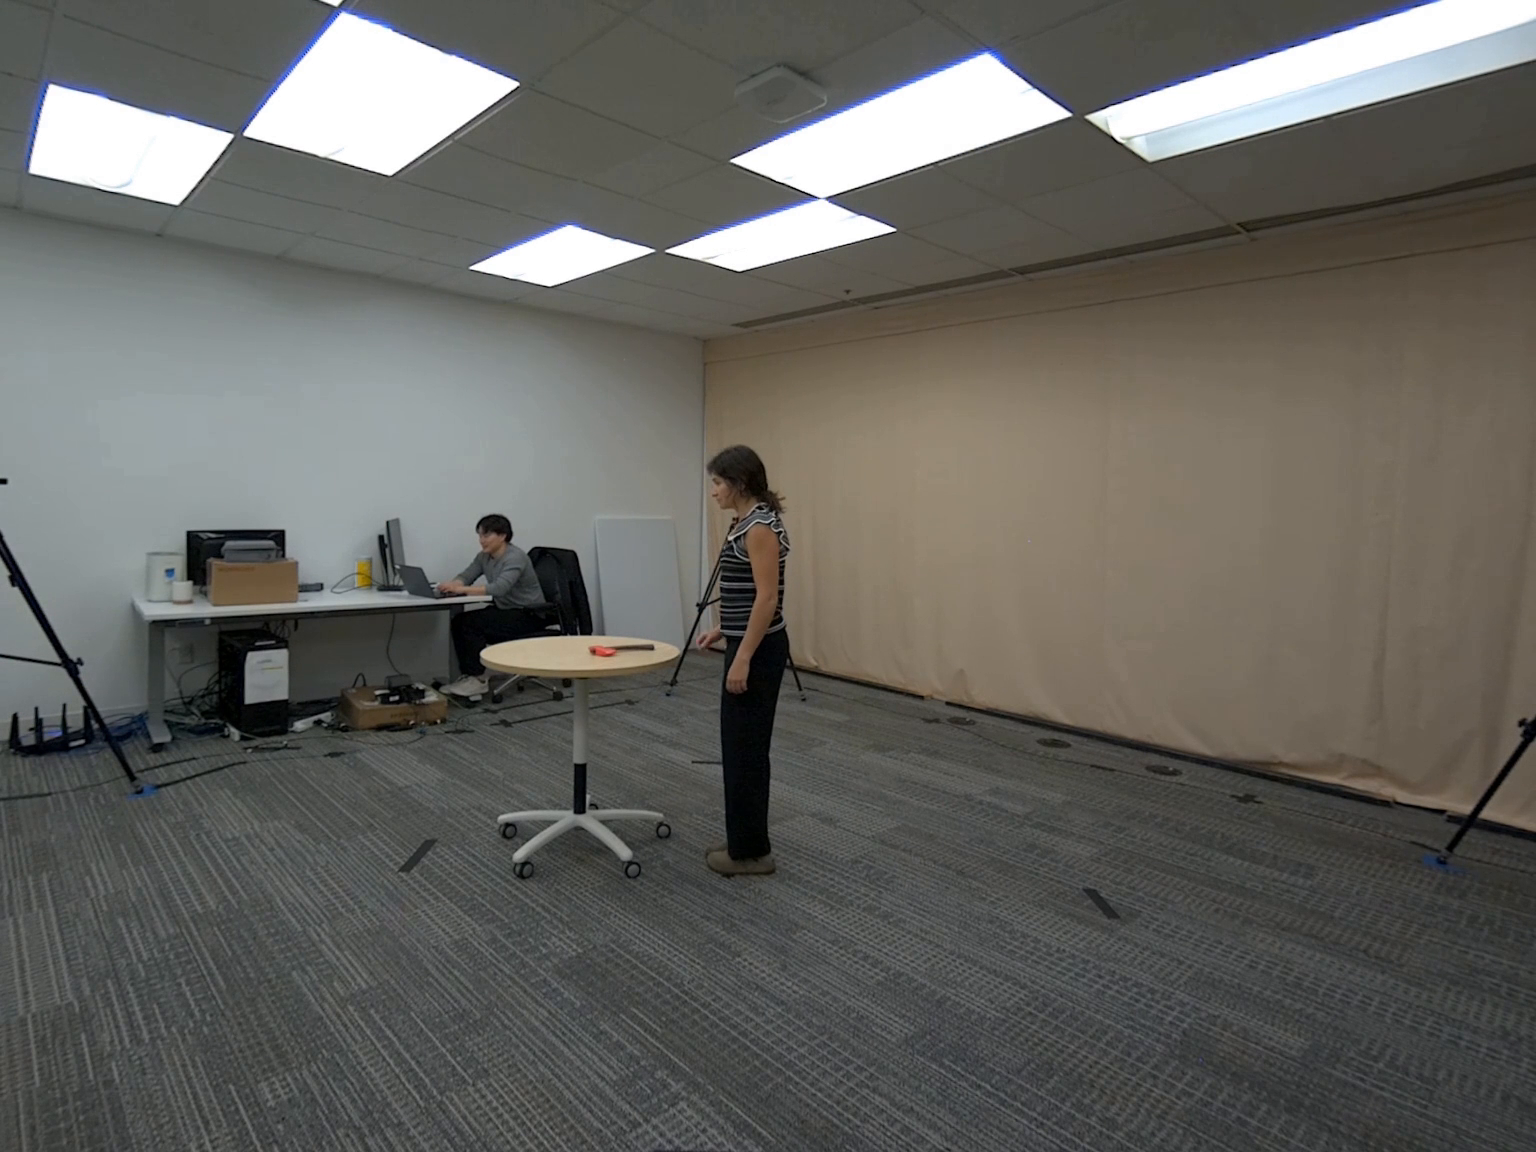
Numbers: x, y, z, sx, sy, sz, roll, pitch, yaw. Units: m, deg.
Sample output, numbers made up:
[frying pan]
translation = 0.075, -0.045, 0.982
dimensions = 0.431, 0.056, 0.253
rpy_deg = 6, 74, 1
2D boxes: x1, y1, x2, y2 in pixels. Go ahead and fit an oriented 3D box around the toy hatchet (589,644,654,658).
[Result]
[toy hatchet]
translation = -0.564, 0.289, 3.260
dimensions = 0.265, 0.029, 0.133
rpy_deg = 0, 5, -23
